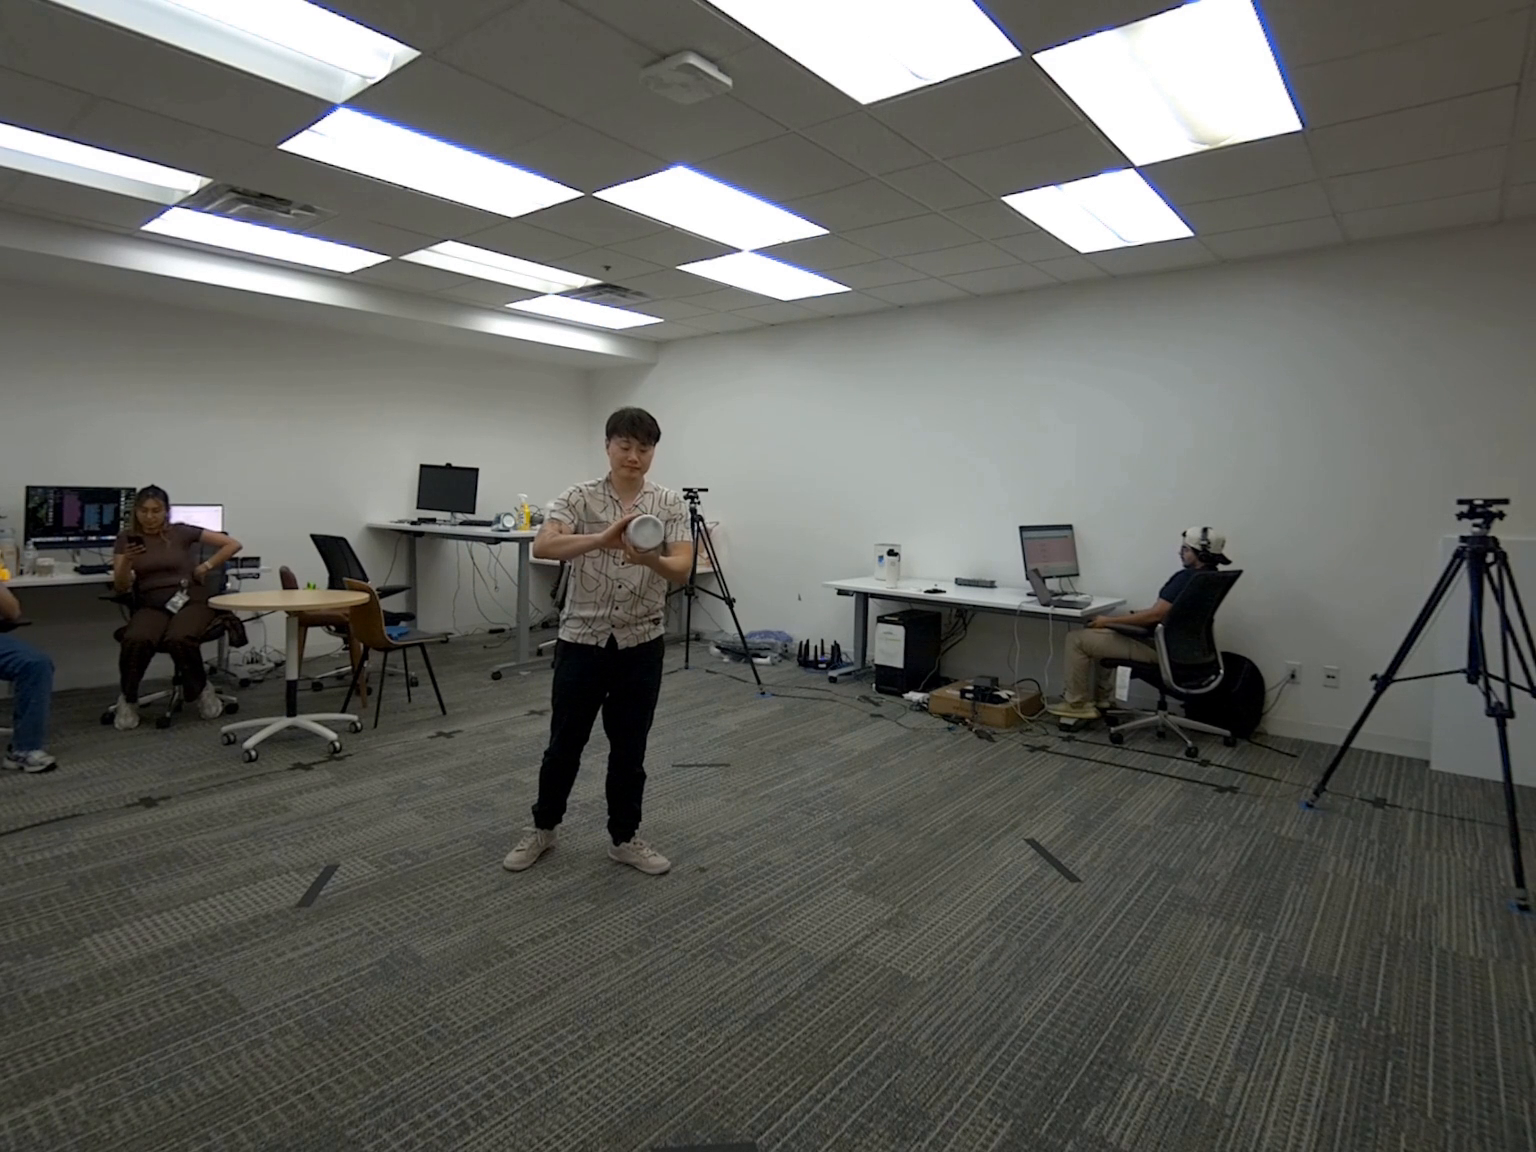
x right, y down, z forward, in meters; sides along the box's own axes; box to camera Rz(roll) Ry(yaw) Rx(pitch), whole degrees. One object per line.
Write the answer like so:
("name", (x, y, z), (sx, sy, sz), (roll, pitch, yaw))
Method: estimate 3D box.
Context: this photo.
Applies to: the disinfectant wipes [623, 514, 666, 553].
("disinfectant wipes", (-0.415, -0.146, 2.753), (0.116, 0.118, 0.220), (0, 2, -10))
